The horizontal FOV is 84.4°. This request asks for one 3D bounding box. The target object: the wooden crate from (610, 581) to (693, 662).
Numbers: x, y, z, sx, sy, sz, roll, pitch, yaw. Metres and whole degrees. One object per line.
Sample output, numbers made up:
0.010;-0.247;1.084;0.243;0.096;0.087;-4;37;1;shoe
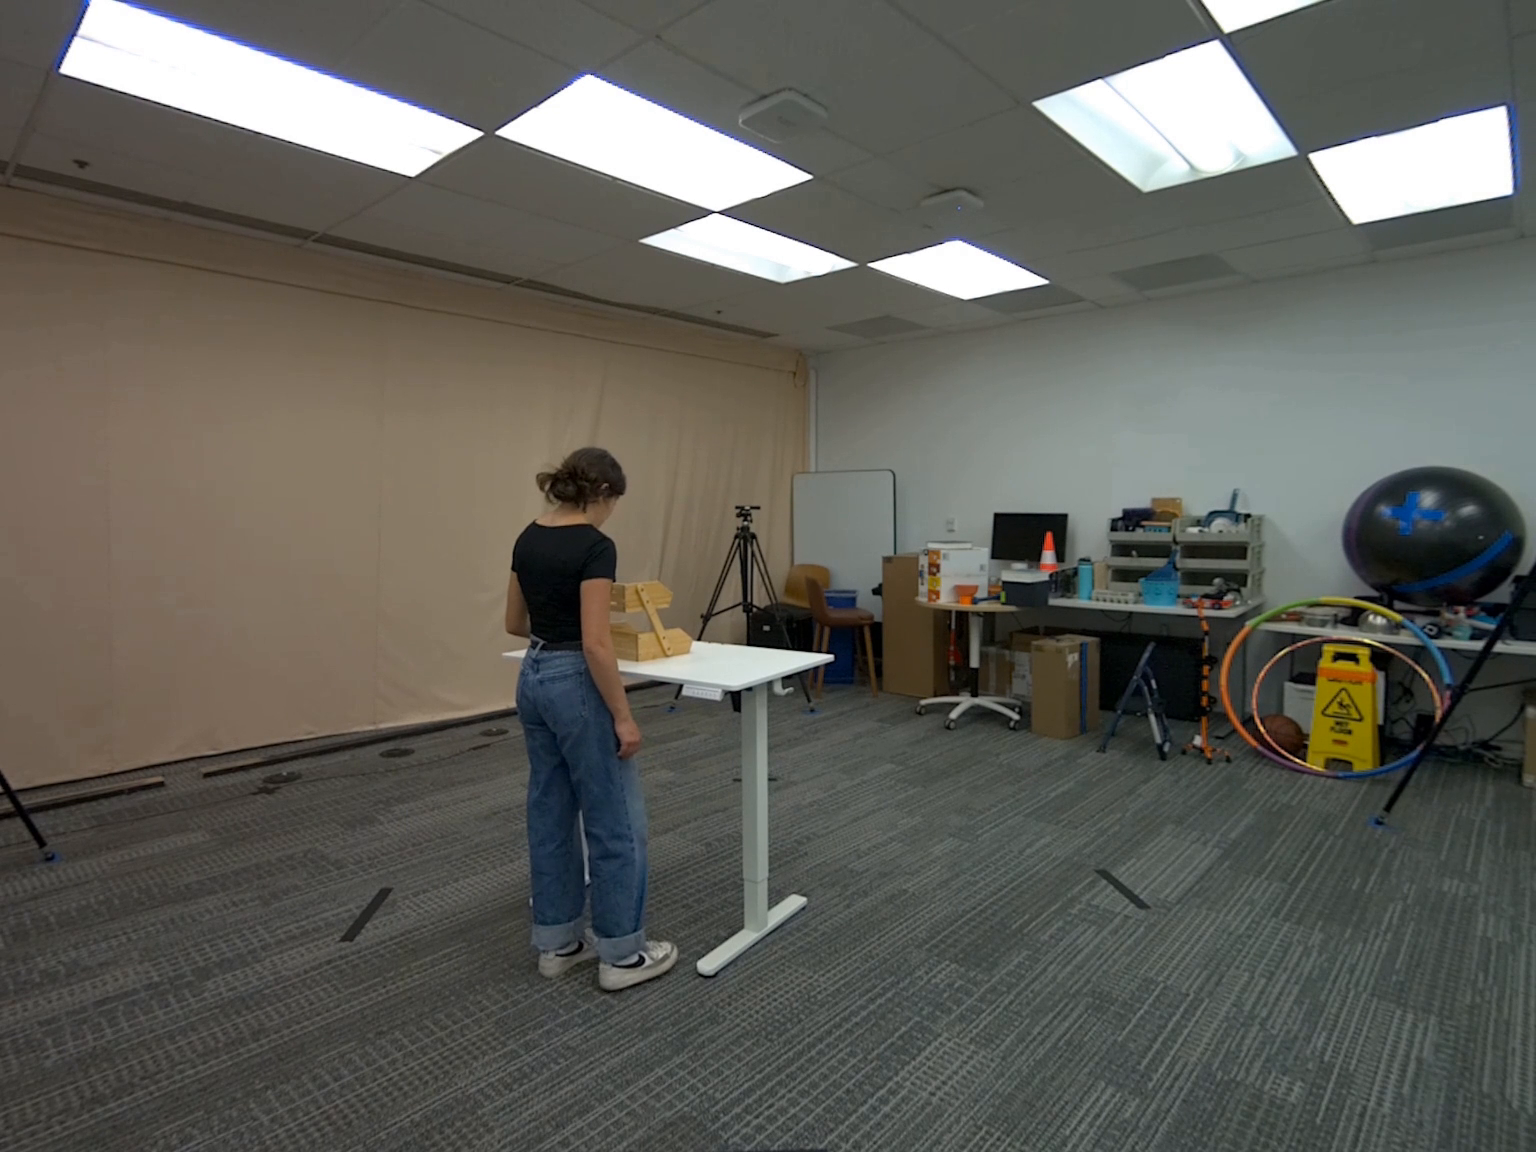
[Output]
-0.473;0.139;2.932;0.335;0.273;0.293;2;5;43;wooden crate
